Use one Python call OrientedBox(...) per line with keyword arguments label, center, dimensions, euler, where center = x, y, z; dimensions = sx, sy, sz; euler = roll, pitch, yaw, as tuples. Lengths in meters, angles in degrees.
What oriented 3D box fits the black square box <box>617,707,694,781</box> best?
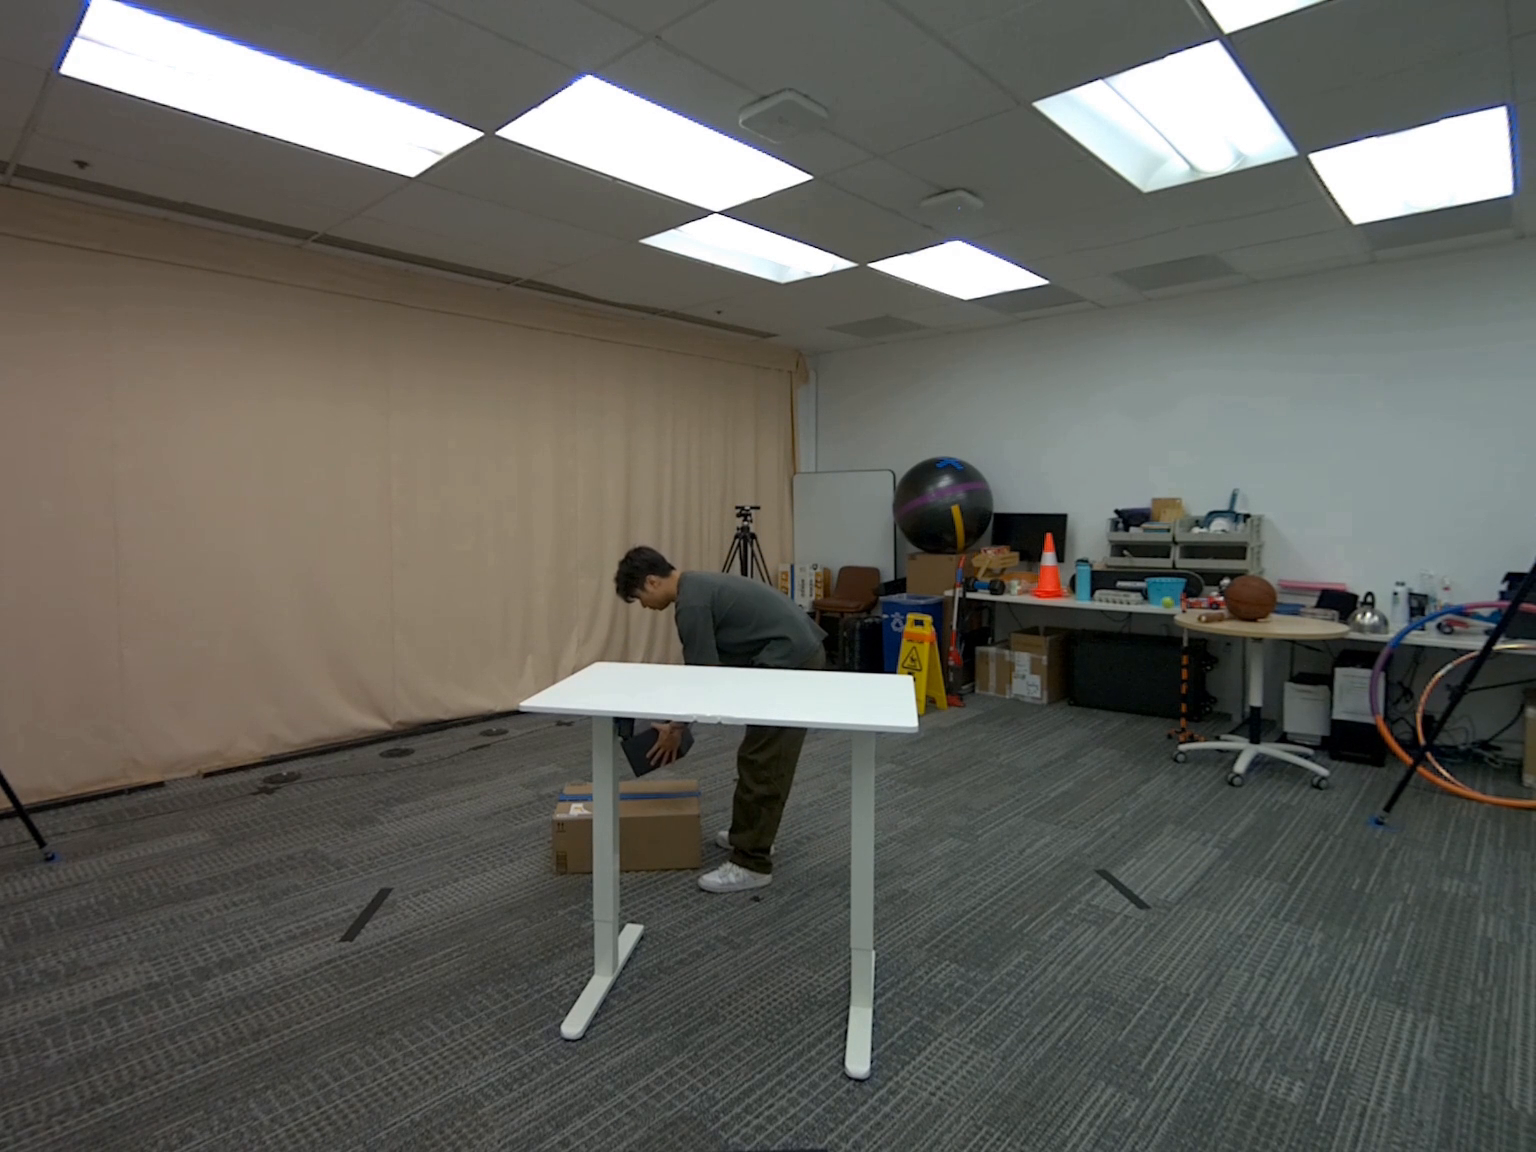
OrientedBox(label="black square box", center=(-0.444, 0.663, 3.373), dimensions=(0.218, 0.156, 0.227), euler=(-25, 2, 7))
